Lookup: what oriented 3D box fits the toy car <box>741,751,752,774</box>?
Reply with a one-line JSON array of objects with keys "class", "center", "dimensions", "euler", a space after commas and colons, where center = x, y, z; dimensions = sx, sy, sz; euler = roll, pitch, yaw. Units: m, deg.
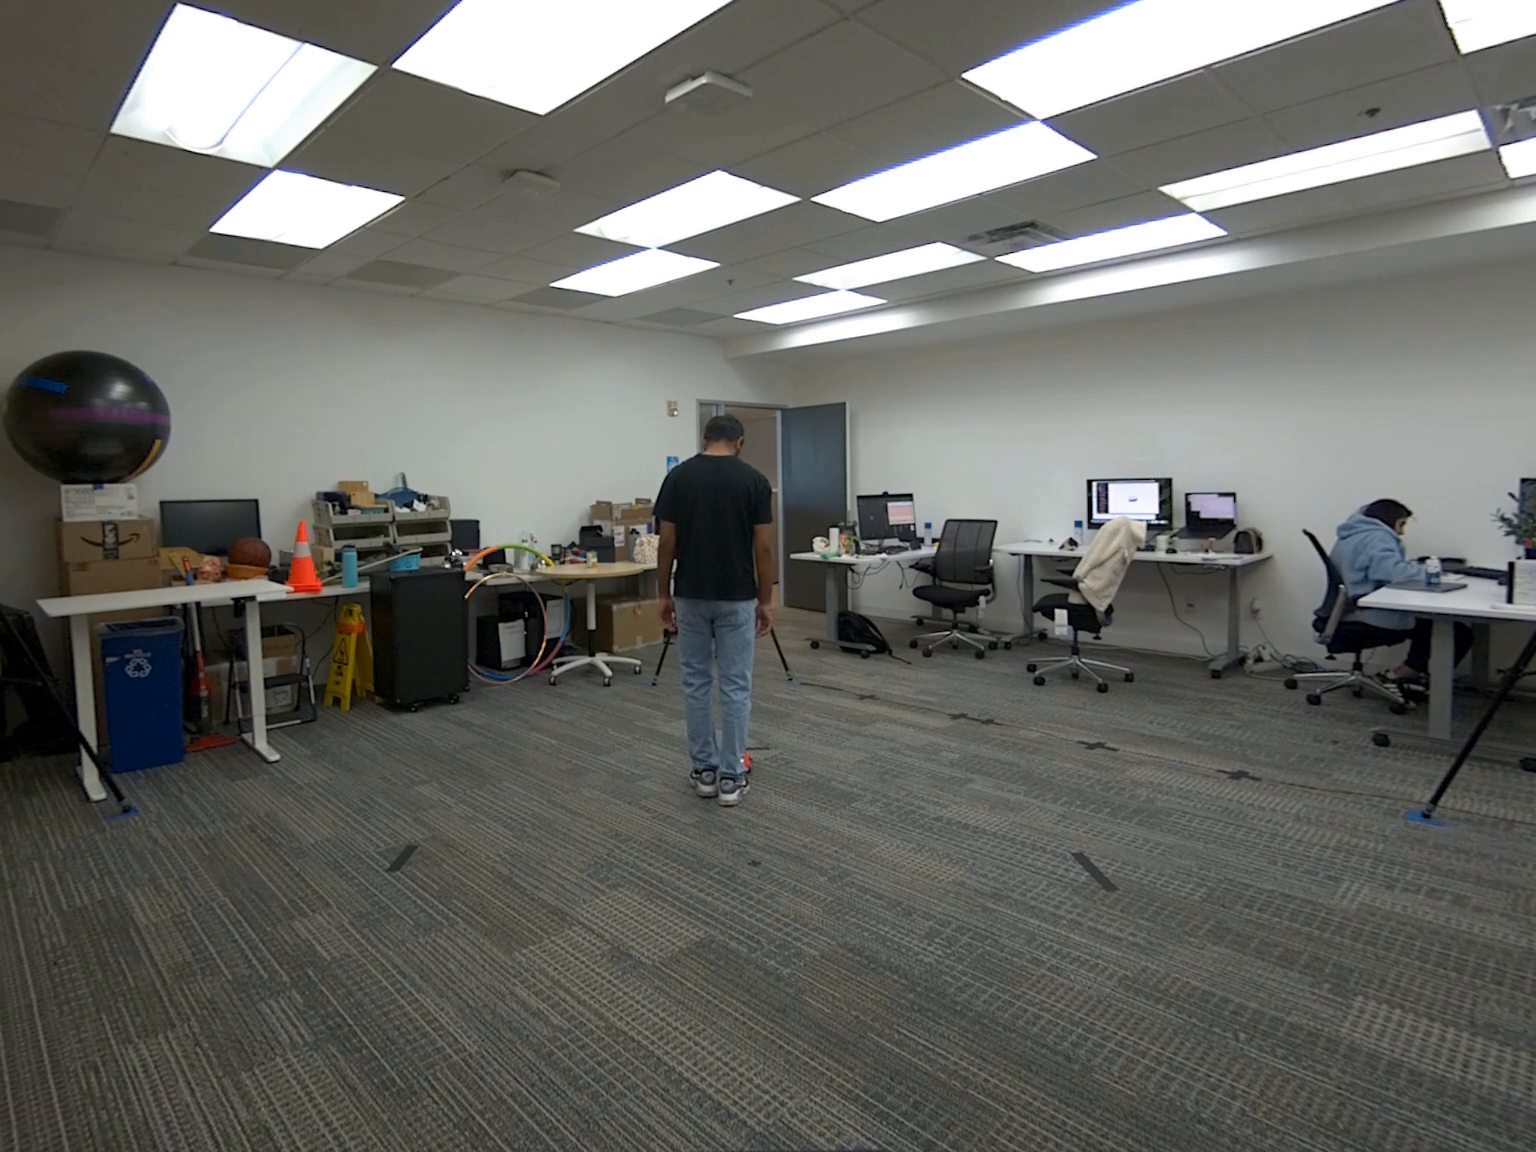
[{"class": "toy car", "center": [-0.130, 0.901, 4.132], "dimensions": [0.131, 0.084, 0.252], "euler": [-1, -5, 2]}]
